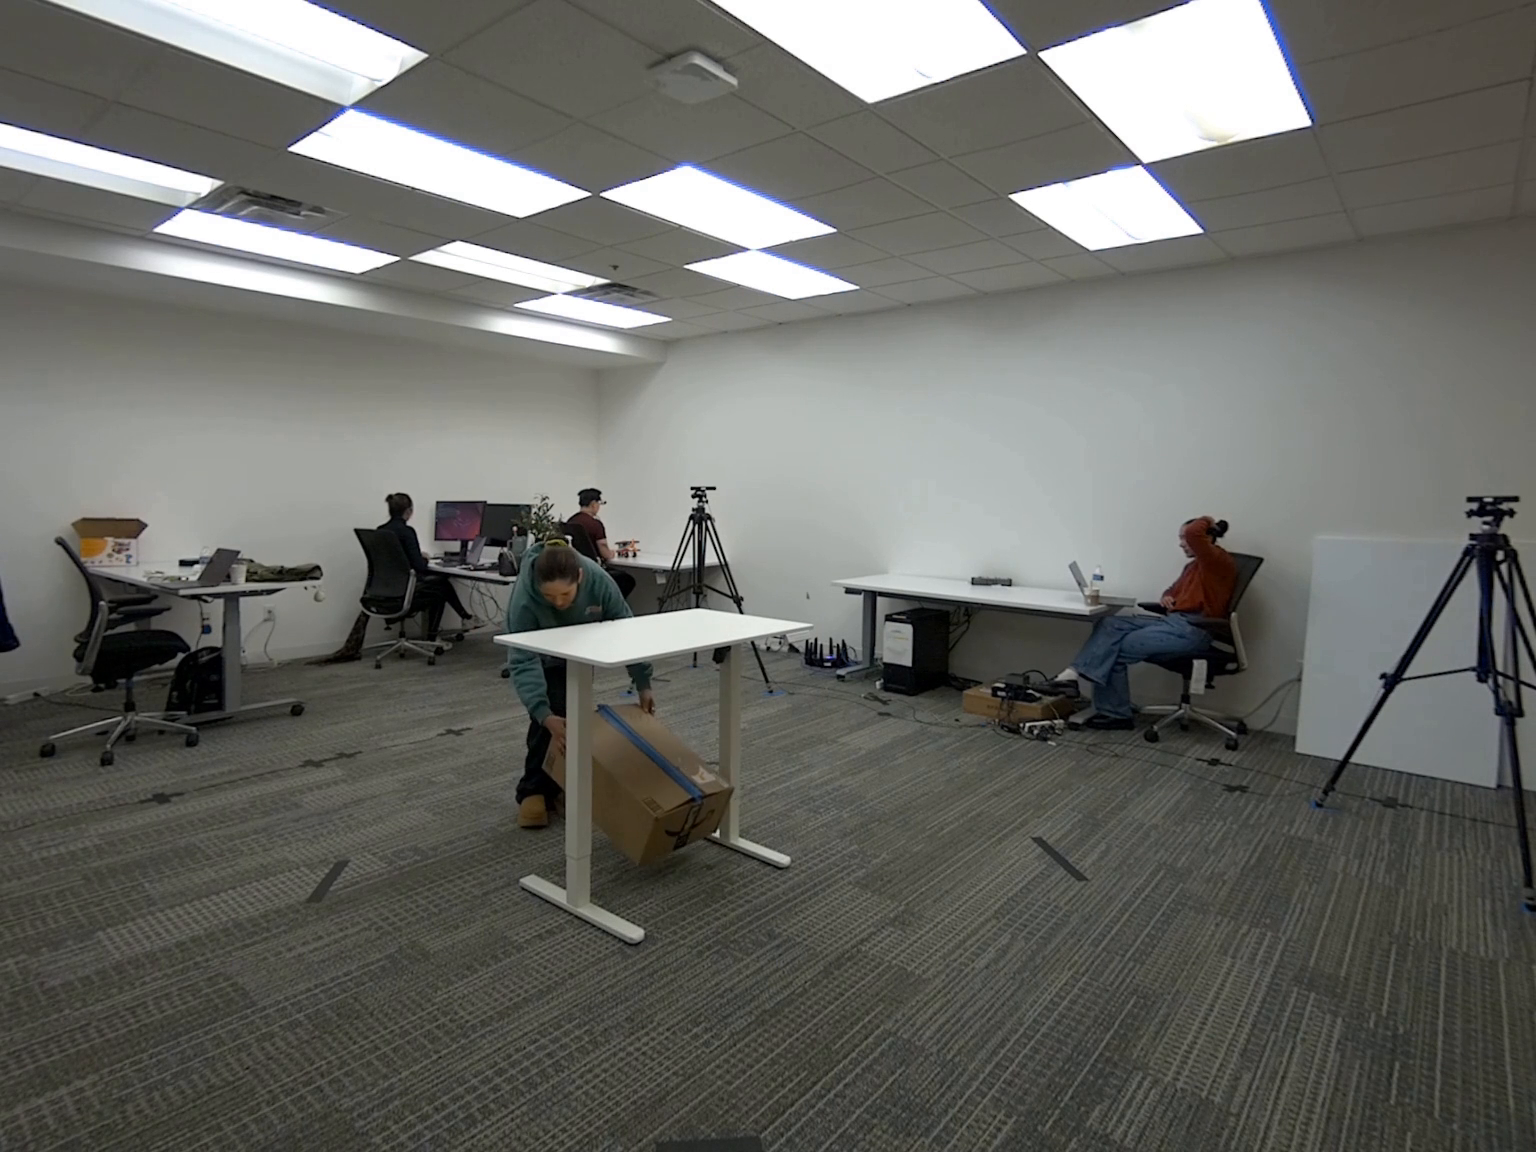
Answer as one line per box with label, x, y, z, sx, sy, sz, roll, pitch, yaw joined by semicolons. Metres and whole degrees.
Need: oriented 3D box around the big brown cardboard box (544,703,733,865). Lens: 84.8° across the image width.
big brown cardboard box;-0.497;0.748;3.162;0.612;0.231;0.405;32;22;32
